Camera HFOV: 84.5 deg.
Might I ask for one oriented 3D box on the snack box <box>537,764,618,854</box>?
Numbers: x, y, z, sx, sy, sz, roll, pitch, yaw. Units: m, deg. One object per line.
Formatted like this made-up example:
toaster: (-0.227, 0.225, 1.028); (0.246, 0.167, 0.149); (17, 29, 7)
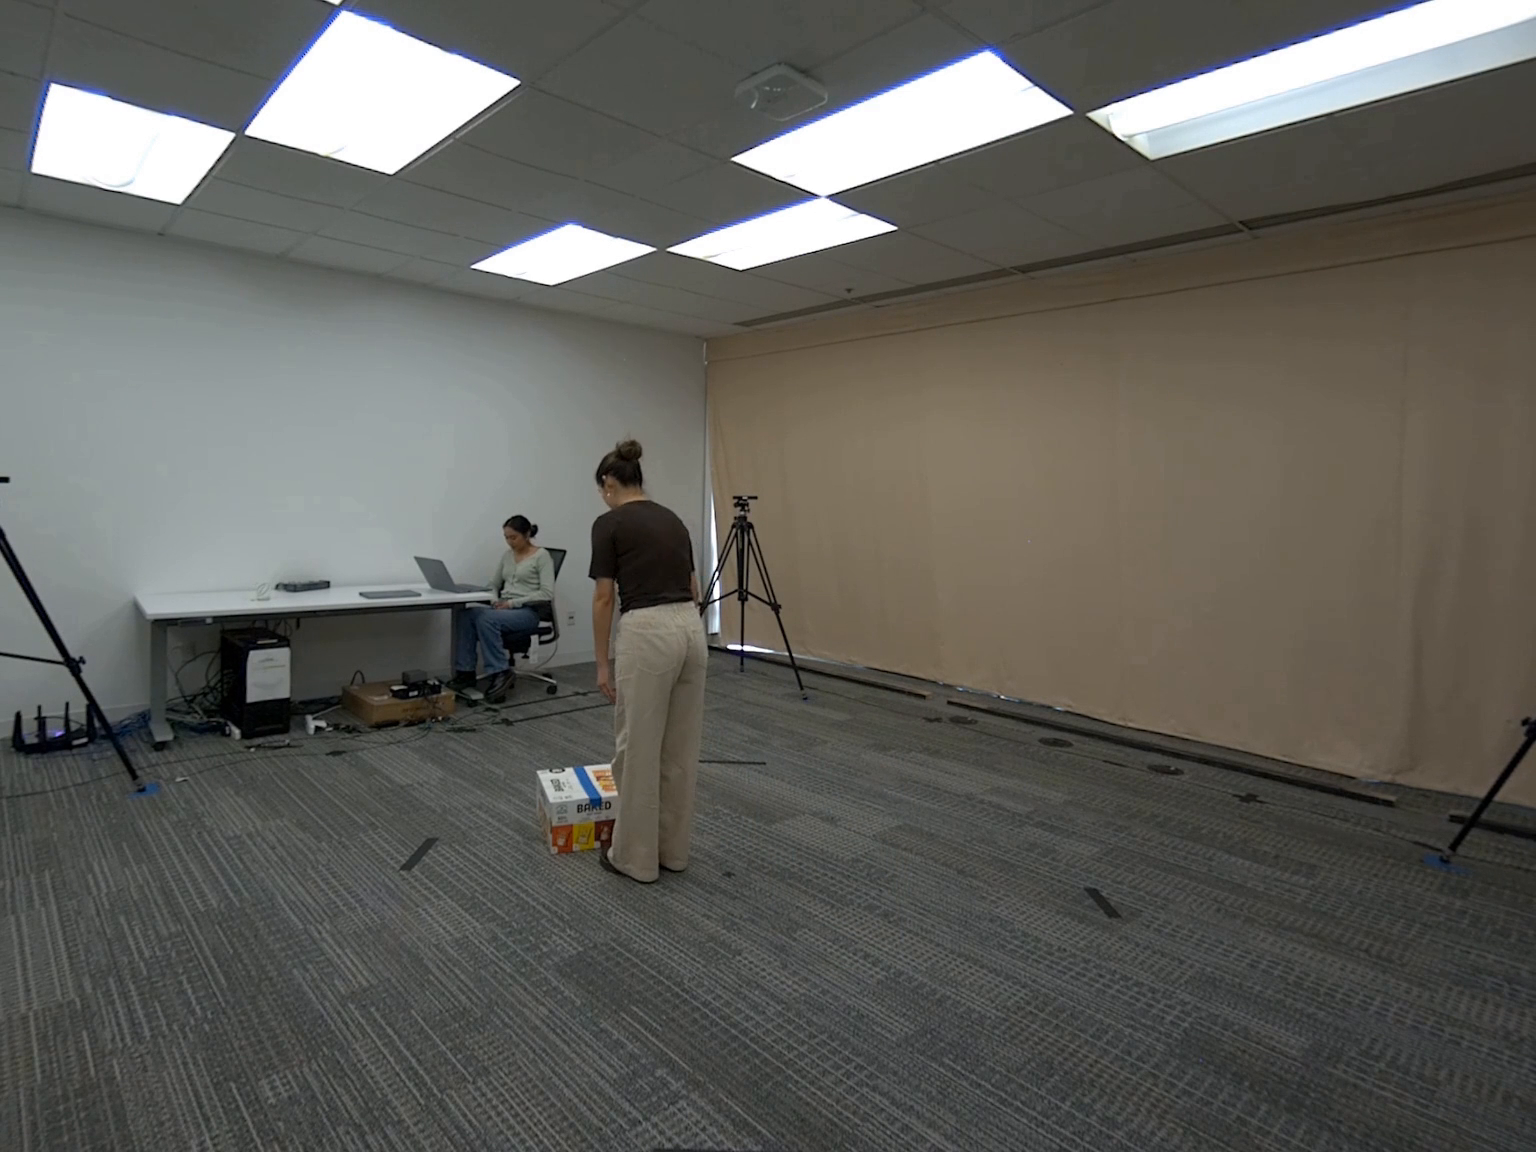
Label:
snack box: (-0.771, 0.954, 3.484); (0.335, 0.205, 0.413); (0, 5, -22)
